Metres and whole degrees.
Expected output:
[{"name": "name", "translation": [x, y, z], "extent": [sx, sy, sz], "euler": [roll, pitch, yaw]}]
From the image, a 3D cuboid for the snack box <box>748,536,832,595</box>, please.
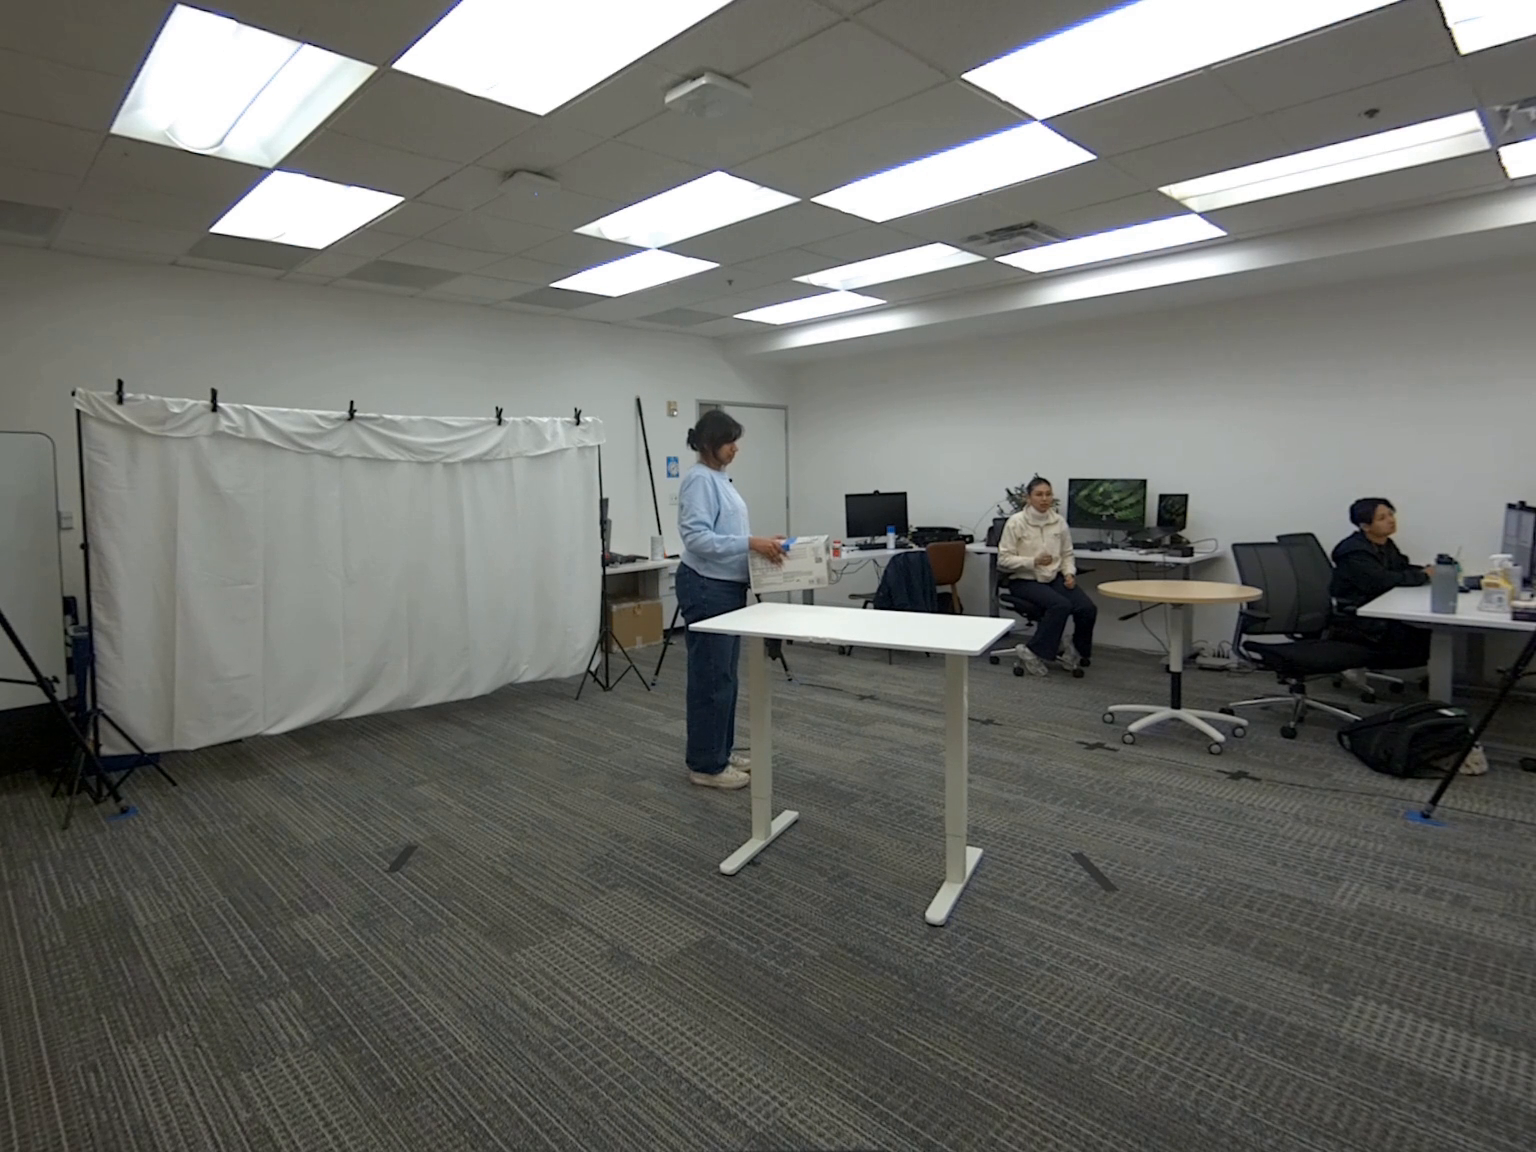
[{"name": "snack box", "translation": [0.101, -0.057, 3.909], "extent": [0.343, 0.205, 0.404], "euler": [-5, 6, 8]}]
